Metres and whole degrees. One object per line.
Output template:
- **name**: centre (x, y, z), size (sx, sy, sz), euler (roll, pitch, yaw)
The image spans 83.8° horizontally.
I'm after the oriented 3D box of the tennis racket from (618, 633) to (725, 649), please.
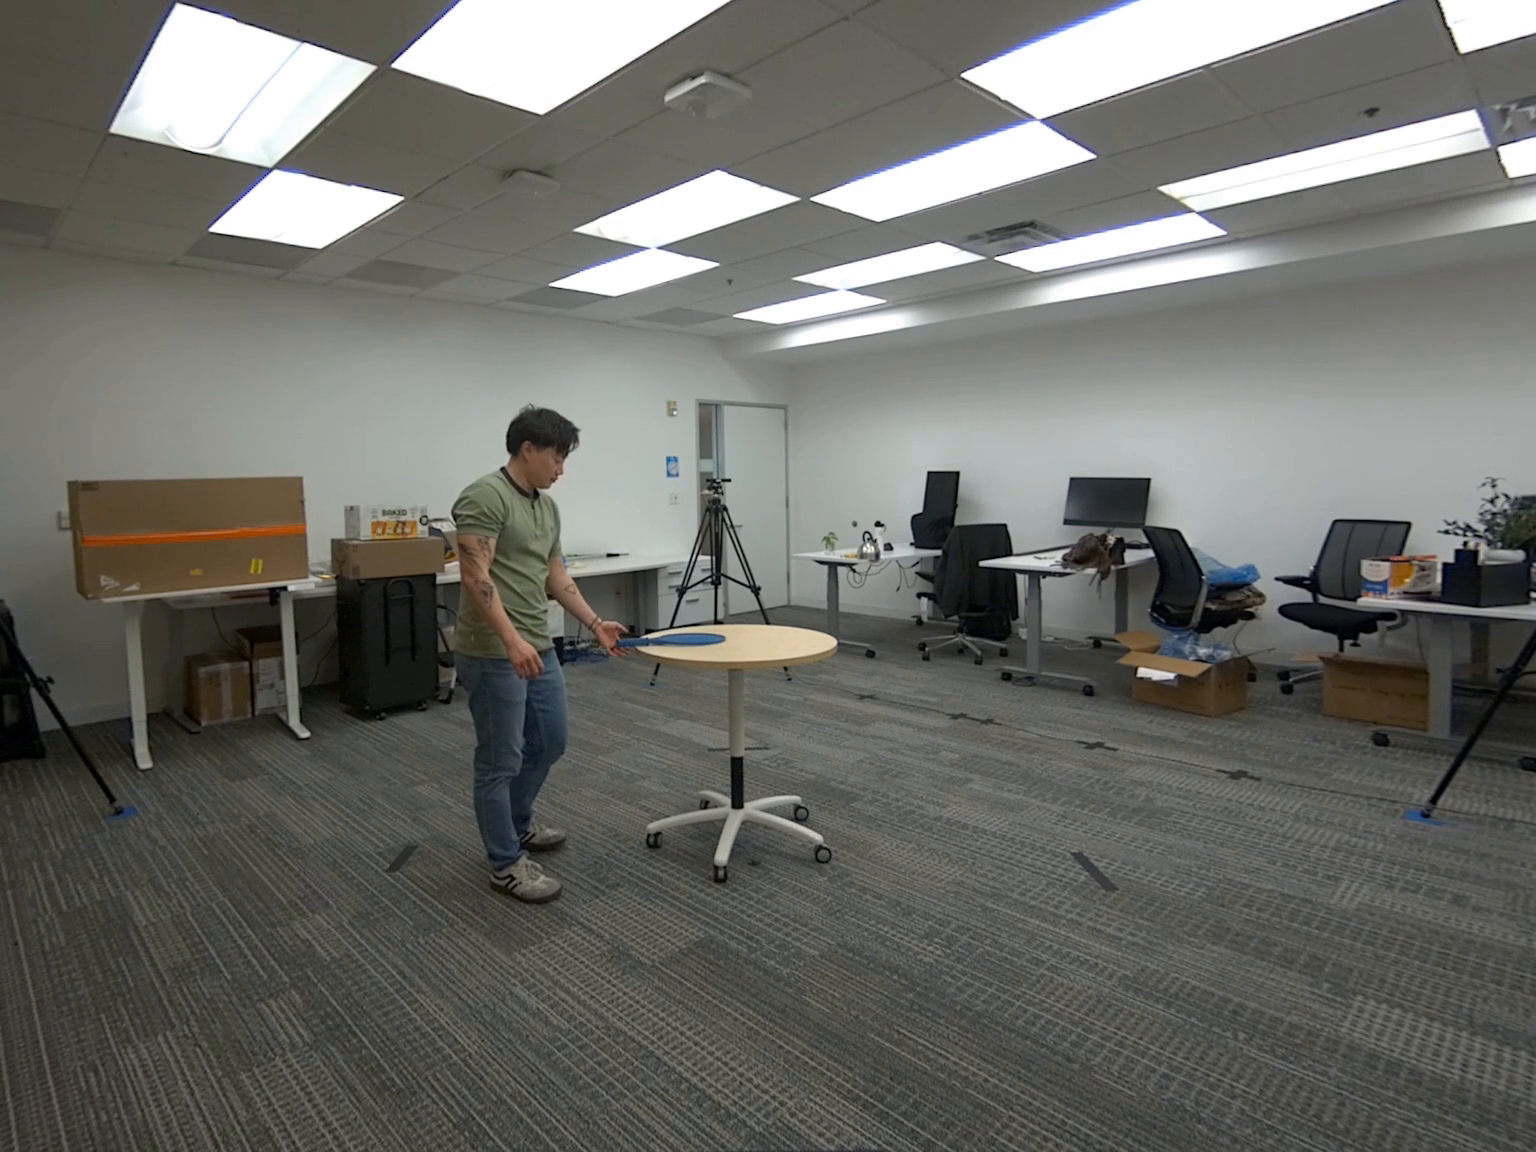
- **tennis racket**: centre (-0.363, 0.238, 3.222), size (0.423, 0.031, 0.219), euler (-2, 5, -26)
